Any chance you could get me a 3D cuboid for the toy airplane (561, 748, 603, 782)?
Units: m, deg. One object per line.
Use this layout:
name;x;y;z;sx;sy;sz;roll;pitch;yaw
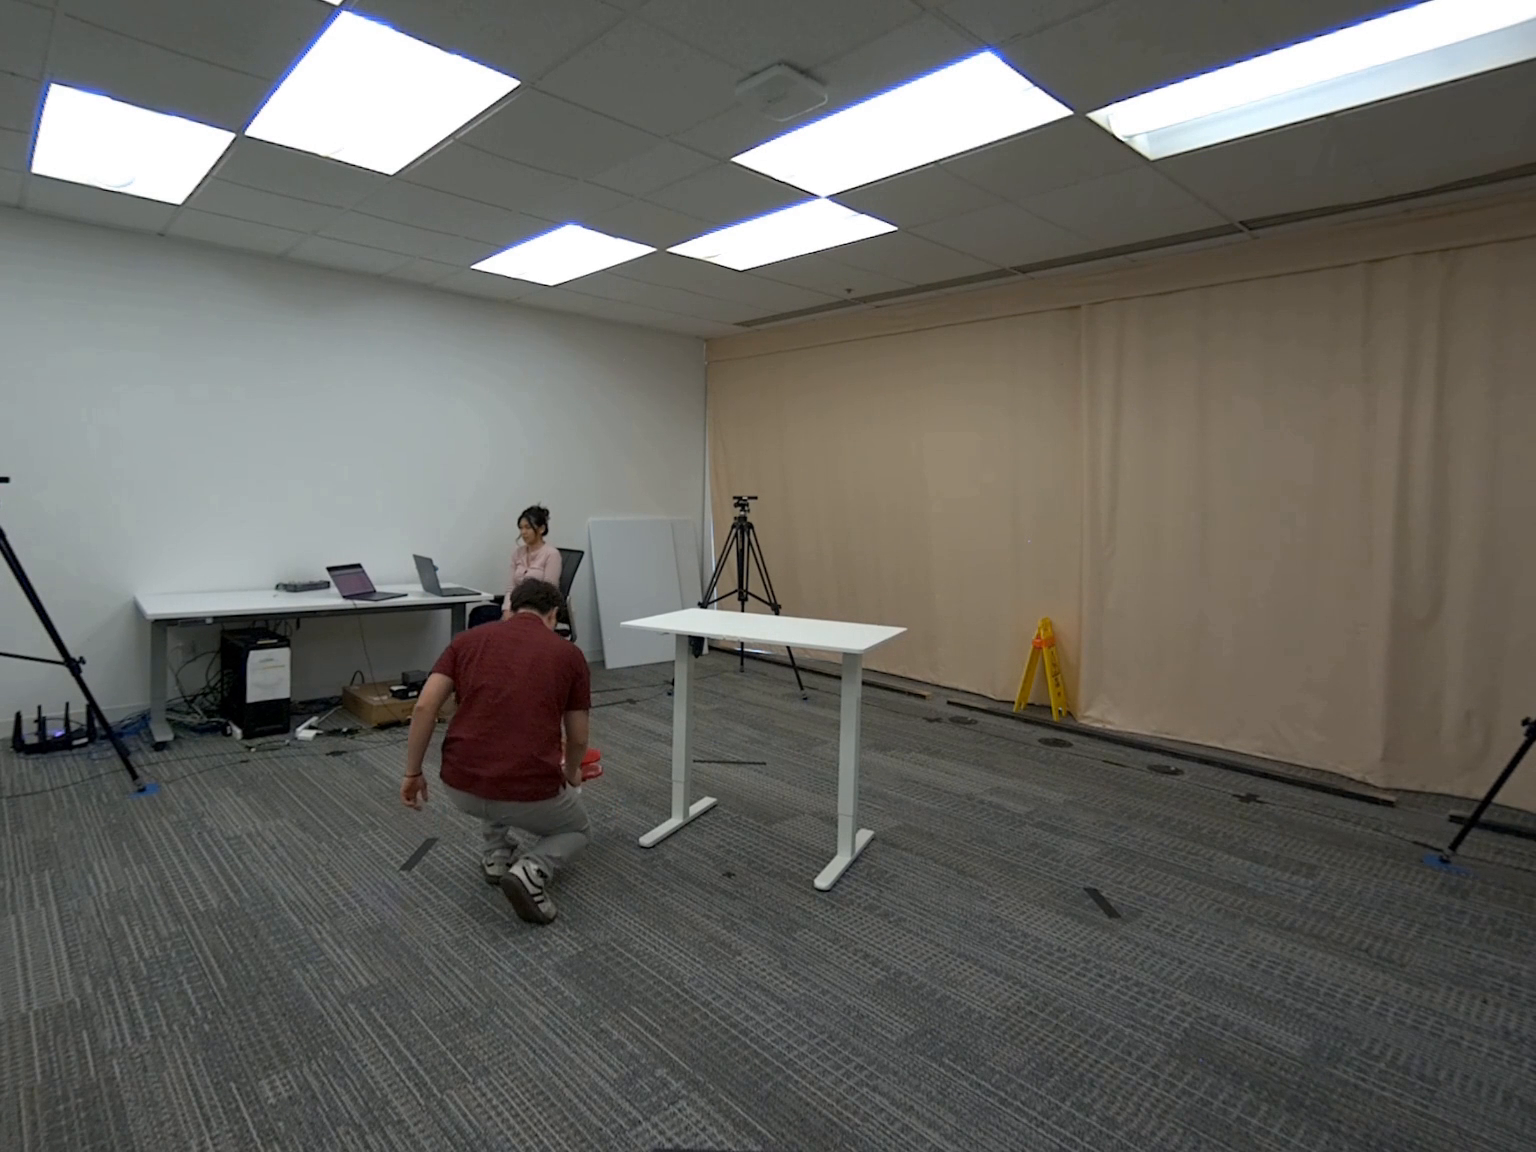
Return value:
toy airplane;-0.782;0.788;3.339;0.247;0.155;0.266;-9;13;-30
